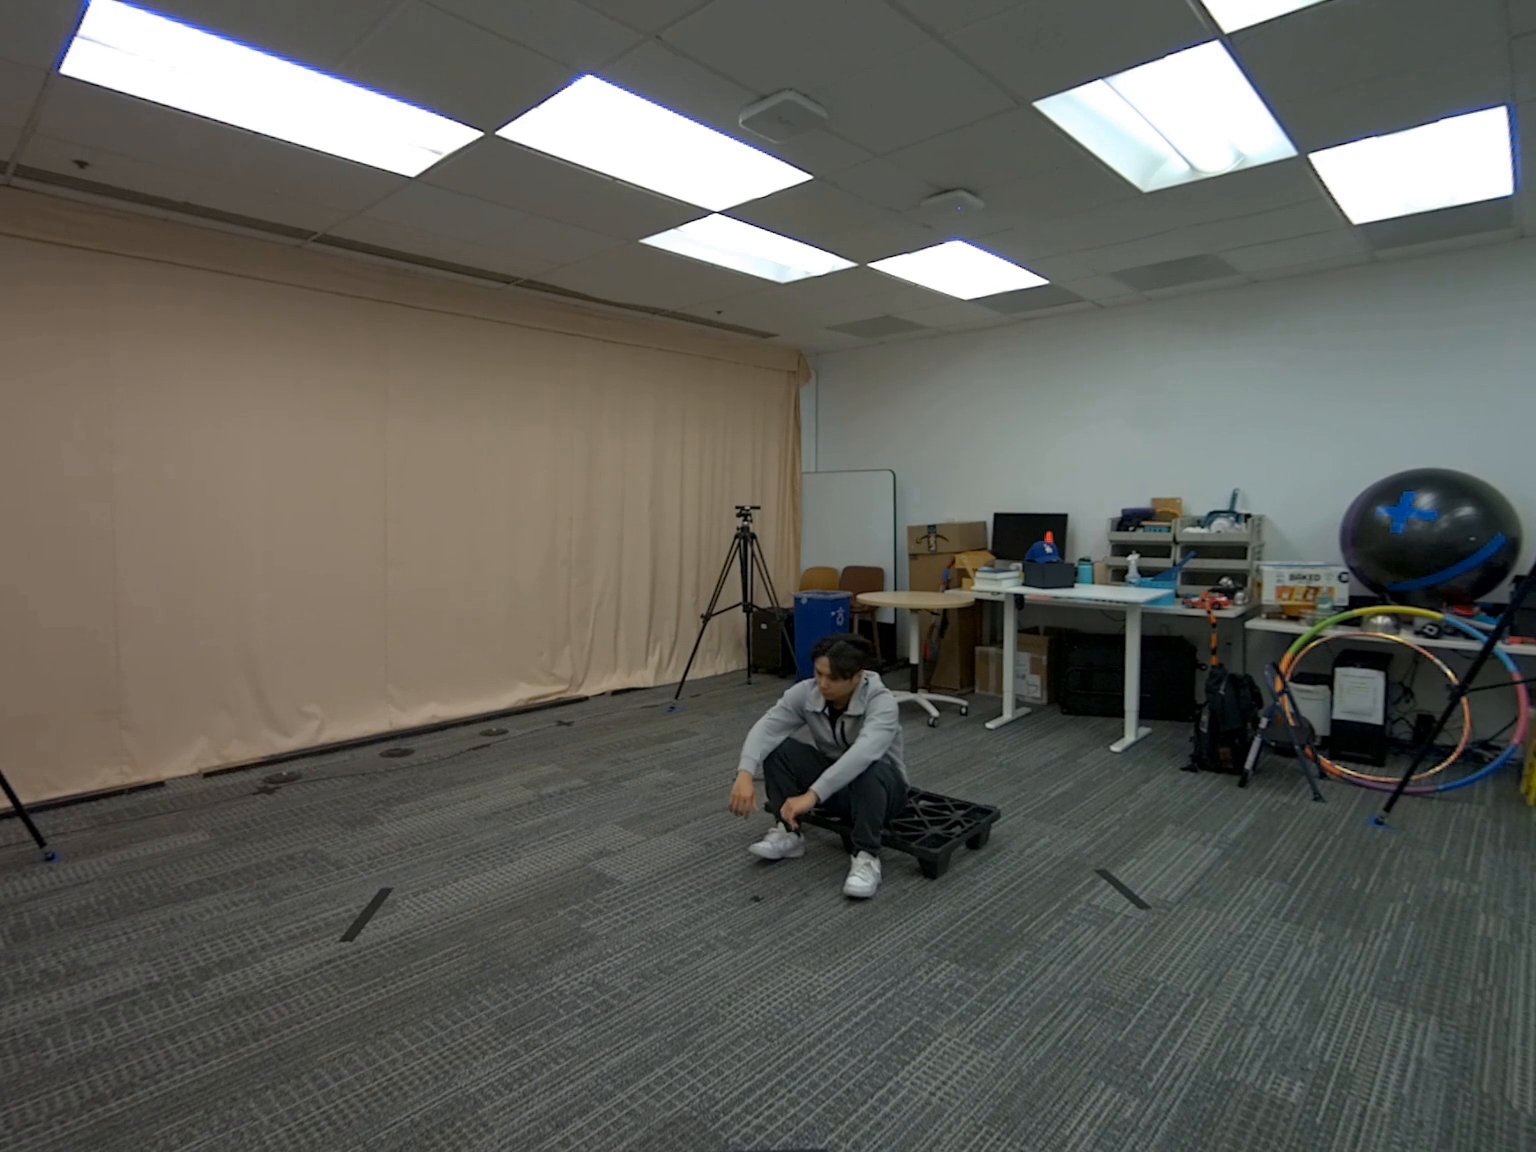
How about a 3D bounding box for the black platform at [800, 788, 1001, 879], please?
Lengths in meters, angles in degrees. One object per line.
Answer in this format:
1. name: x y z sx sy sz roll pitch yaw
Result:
1. black platform: 0.474 1.030 3.529 0.832 0.143 0.587 4 6 39
